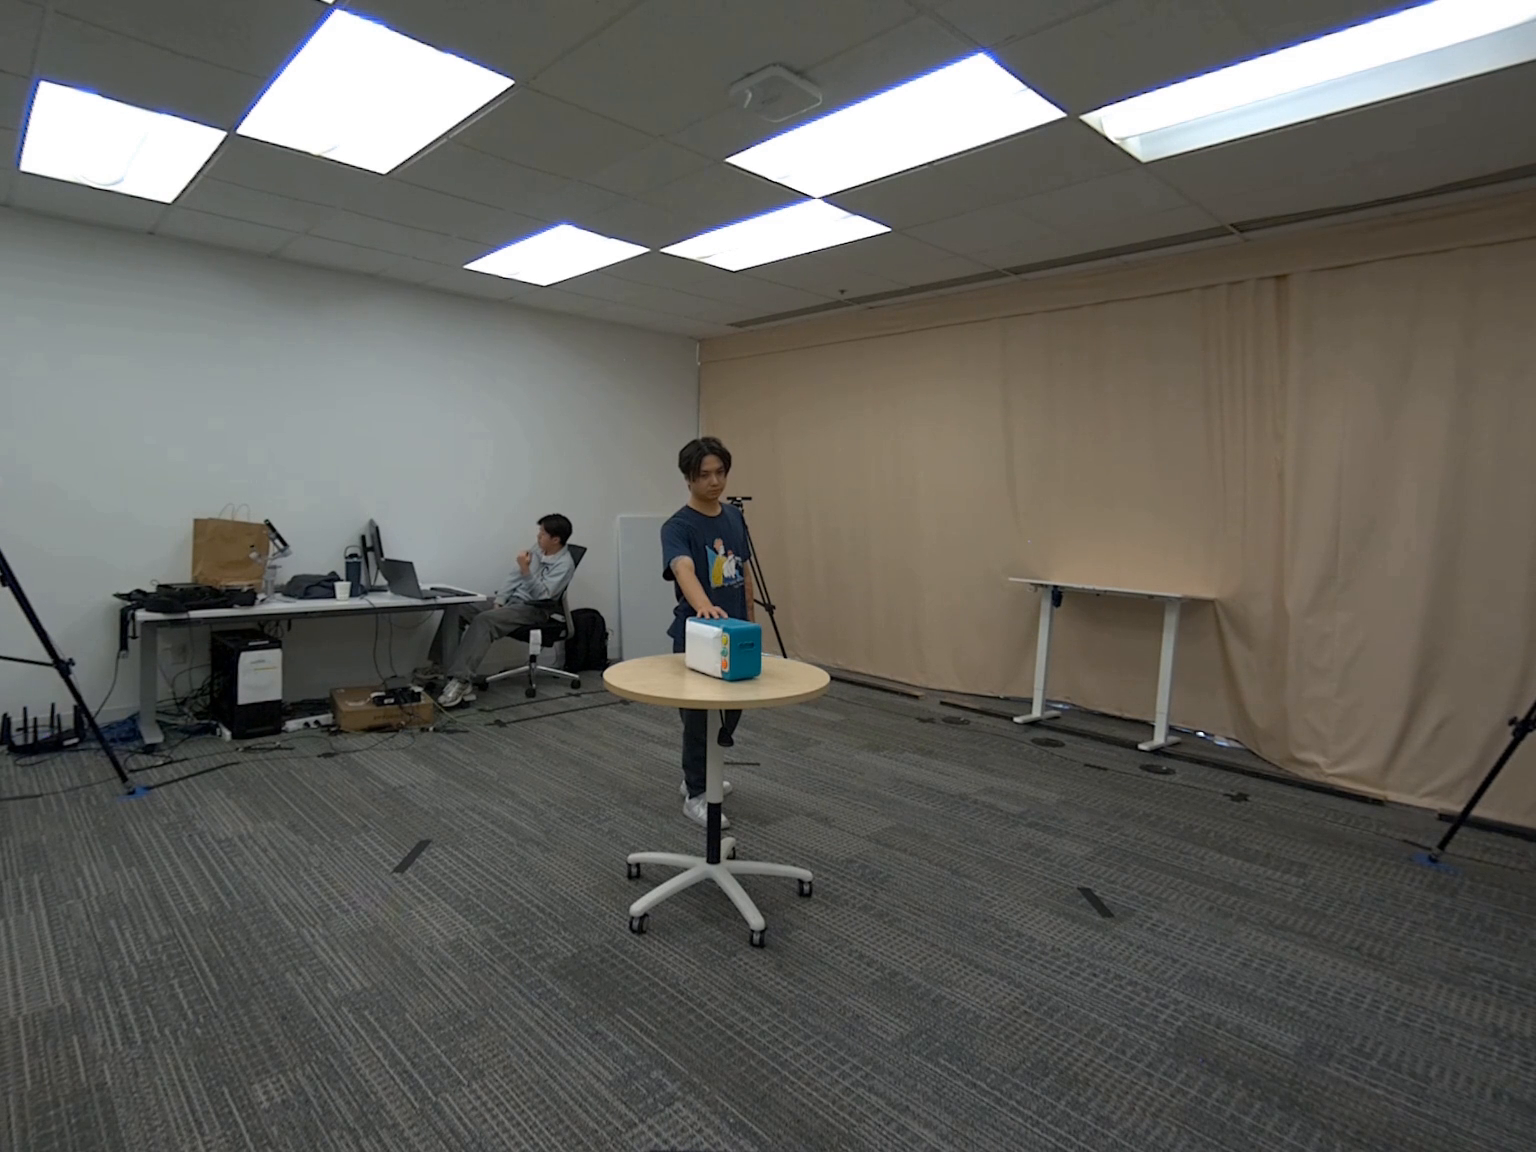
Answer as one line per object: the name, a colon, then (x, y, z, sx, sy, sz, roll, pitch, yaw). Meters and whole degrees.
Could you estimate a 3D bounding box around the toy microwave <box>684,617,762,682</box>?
toy microwave: (-0.168, 0.244, 2.843, 0.149, 0.184, 0.293, -2, 5, -35)
